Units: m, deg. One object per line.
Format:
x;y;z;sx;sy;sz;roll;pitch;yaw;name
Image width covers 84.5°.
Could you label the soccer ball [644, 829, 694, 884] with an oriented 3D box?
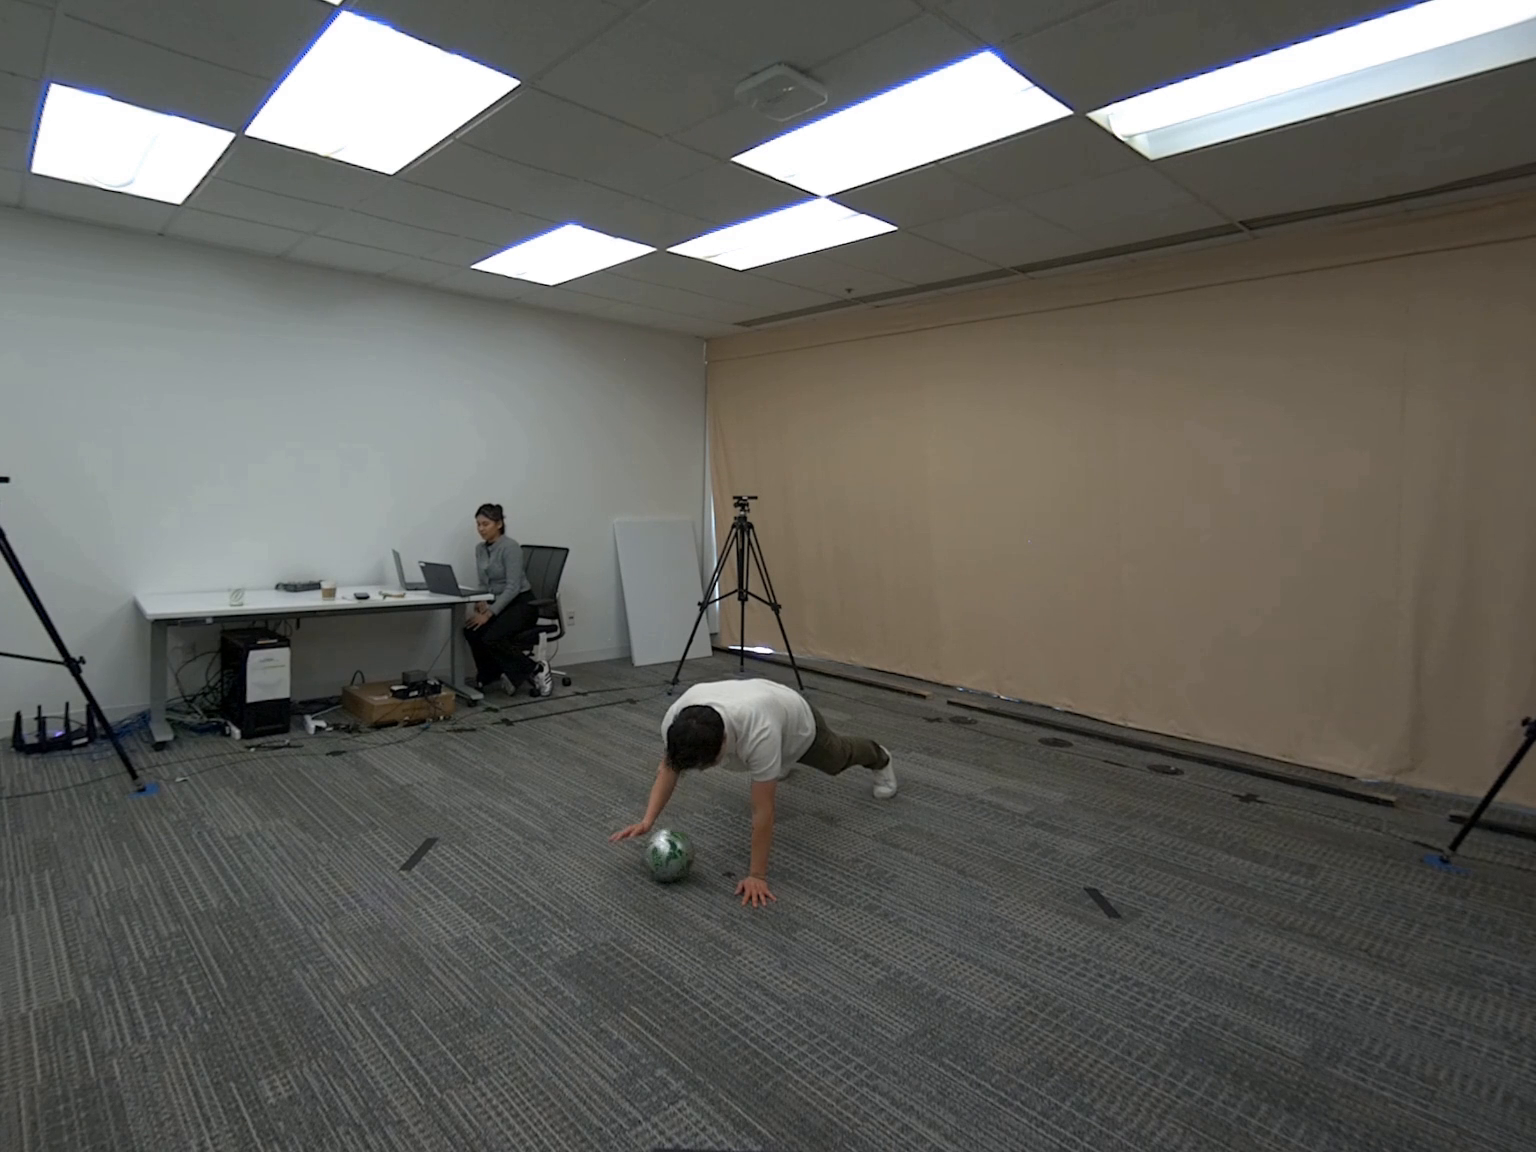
-0.370;1.000;3.052;0.187;0.187;0.188;1;4;-1;soccer ball
